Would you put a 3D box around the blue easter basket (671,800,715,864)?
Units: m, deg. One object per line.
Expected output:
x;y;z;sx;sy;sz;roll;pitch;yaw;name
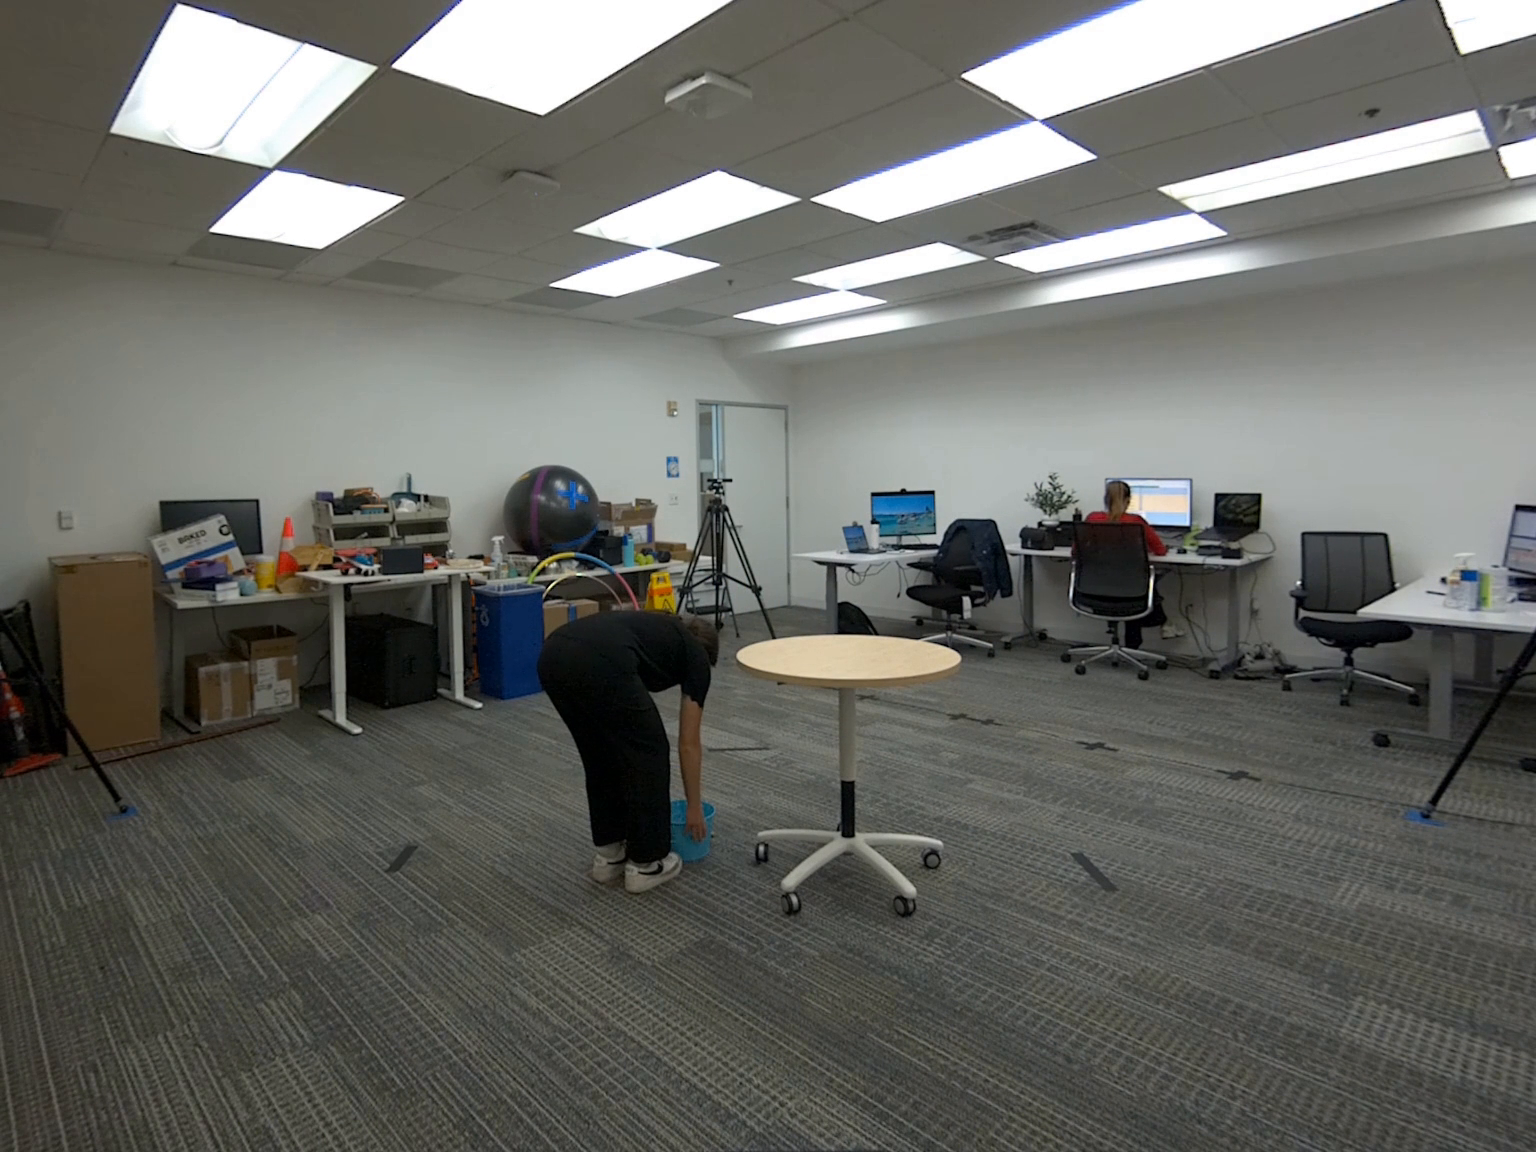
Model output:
-0.304;0.959;3.219;0.243;0.155;0.245;-1;6;-2;blue easter basket
